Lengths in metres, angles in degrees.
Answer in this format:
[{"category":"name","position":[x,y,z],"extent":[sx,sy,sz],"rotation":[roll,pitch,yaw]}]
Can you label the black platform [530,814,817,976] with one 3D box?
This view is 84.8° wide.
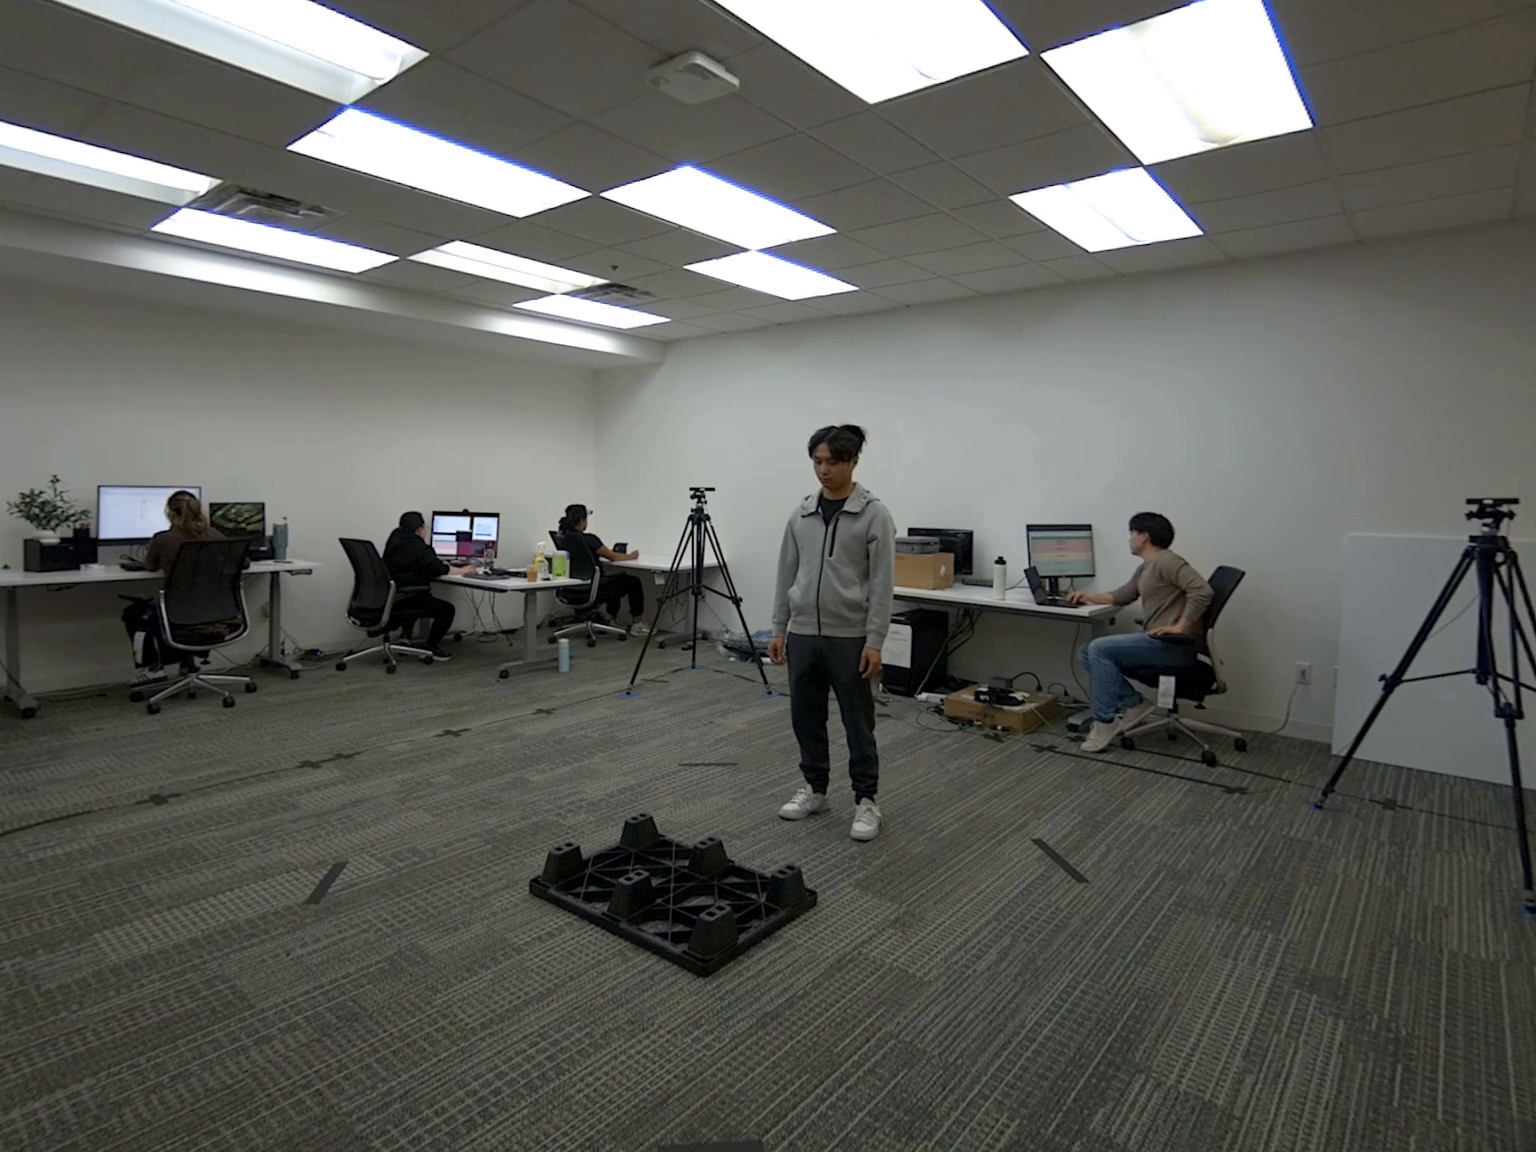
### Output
[{"category":"black platform","position":[-0.340,1.020,2.881],"extent":[0.832,0.143,0.588],"rotation":[5,6,37]}]
